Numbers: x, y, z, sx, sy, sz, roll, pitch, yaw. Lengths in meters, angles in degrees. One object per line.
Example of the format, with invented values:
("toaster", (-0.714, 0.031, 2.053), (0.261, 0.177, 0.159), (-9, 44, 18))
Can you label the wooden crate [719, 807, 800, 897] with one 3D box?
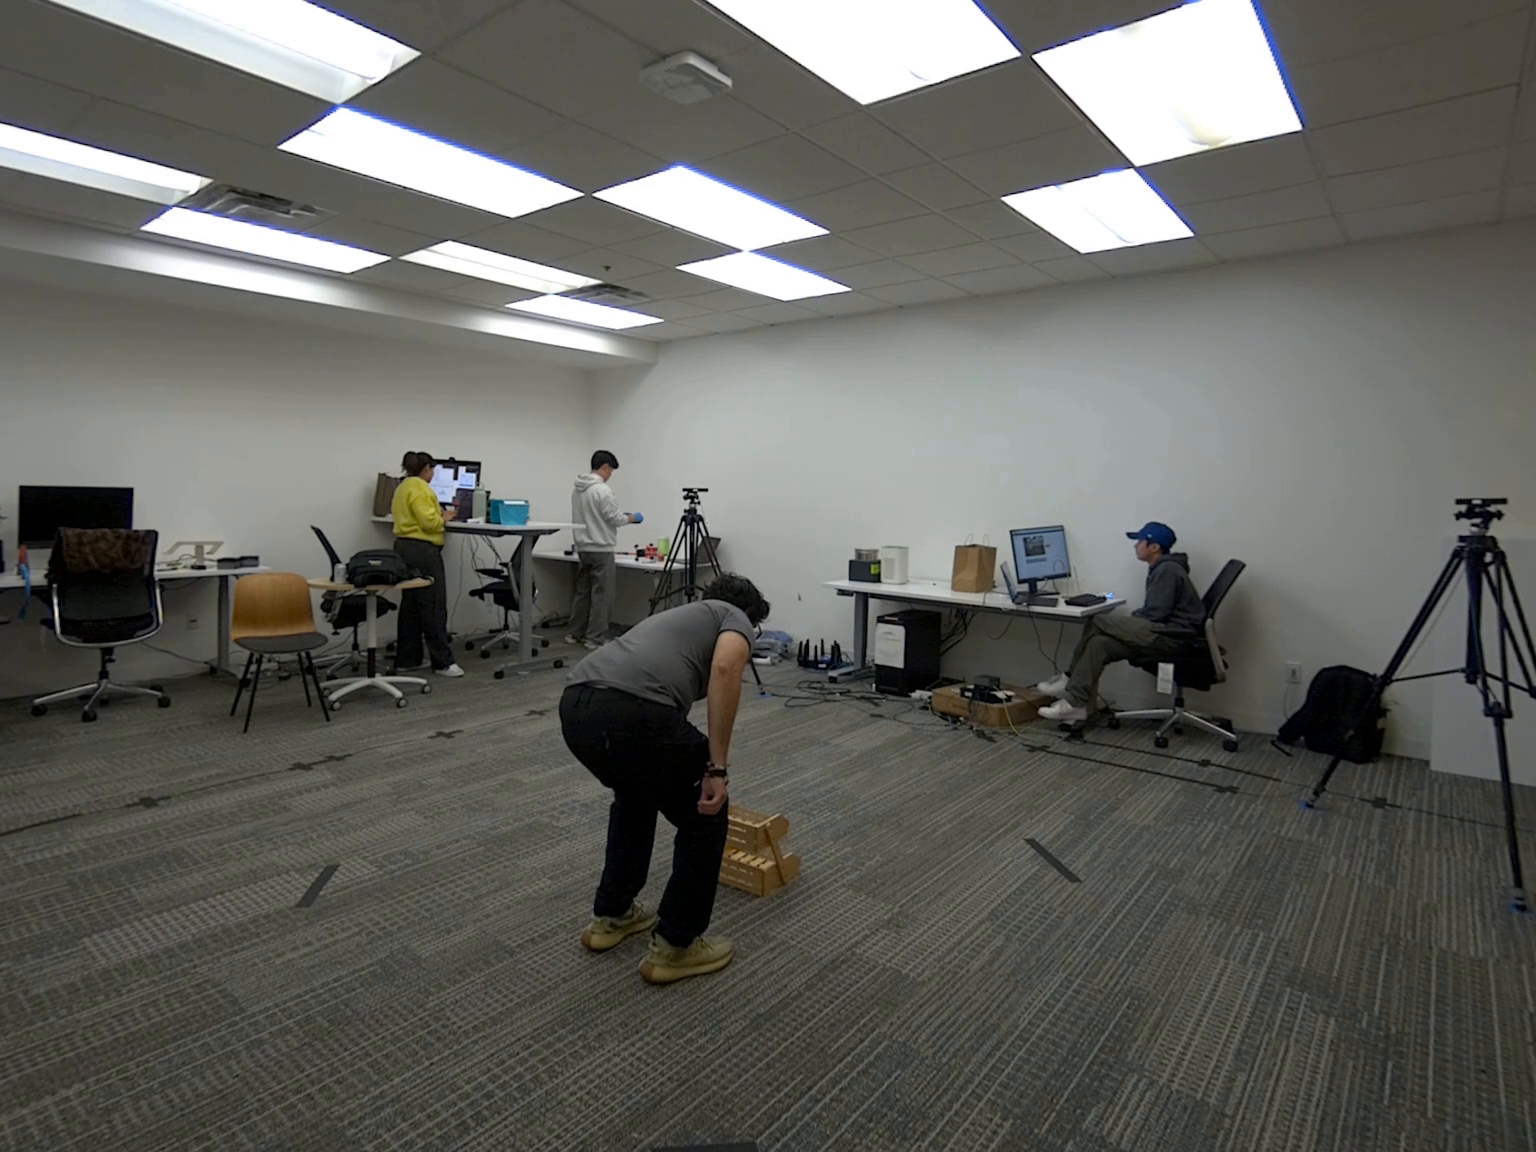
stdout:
("wooden crate", (-0.093, 0.942, 3.063), (0.335, 0.272, 0.293), (4, 5, 34))
